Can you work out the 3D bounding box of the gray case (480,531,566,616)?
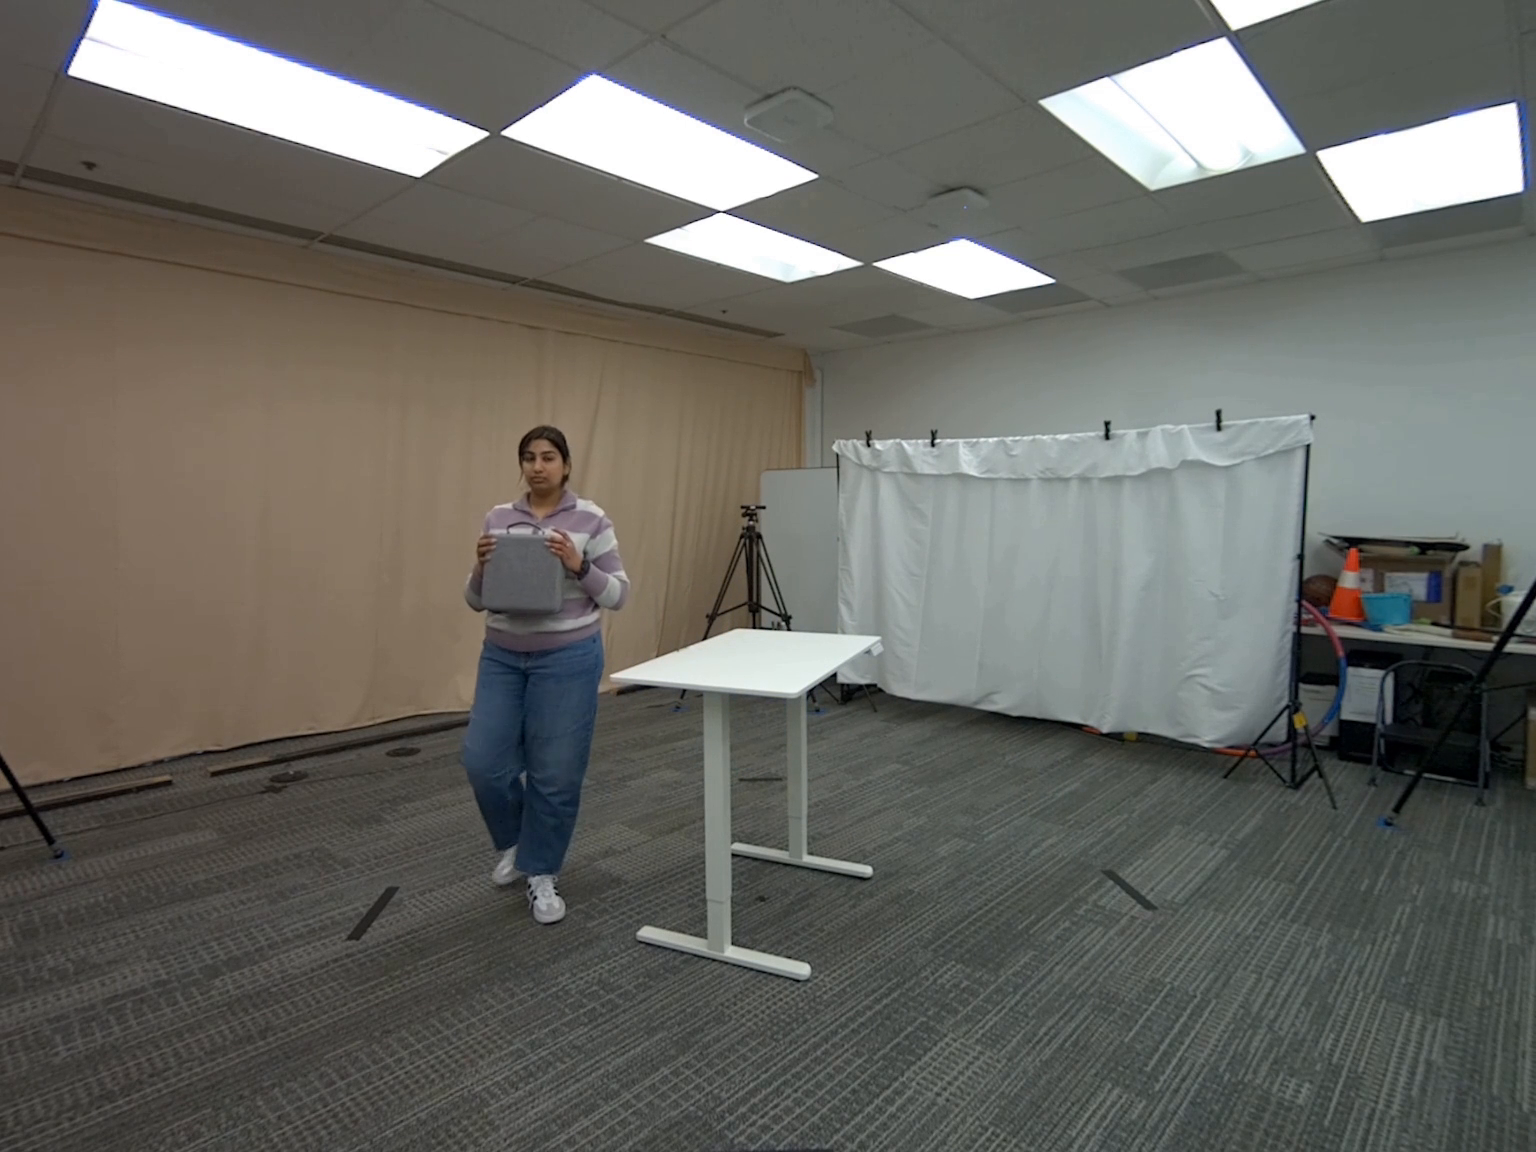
[{"bbox_3d":[-0.781,-0.005,2.730,0.257,0.261,0.104,1,-4,1],"label":"gray case"}]
